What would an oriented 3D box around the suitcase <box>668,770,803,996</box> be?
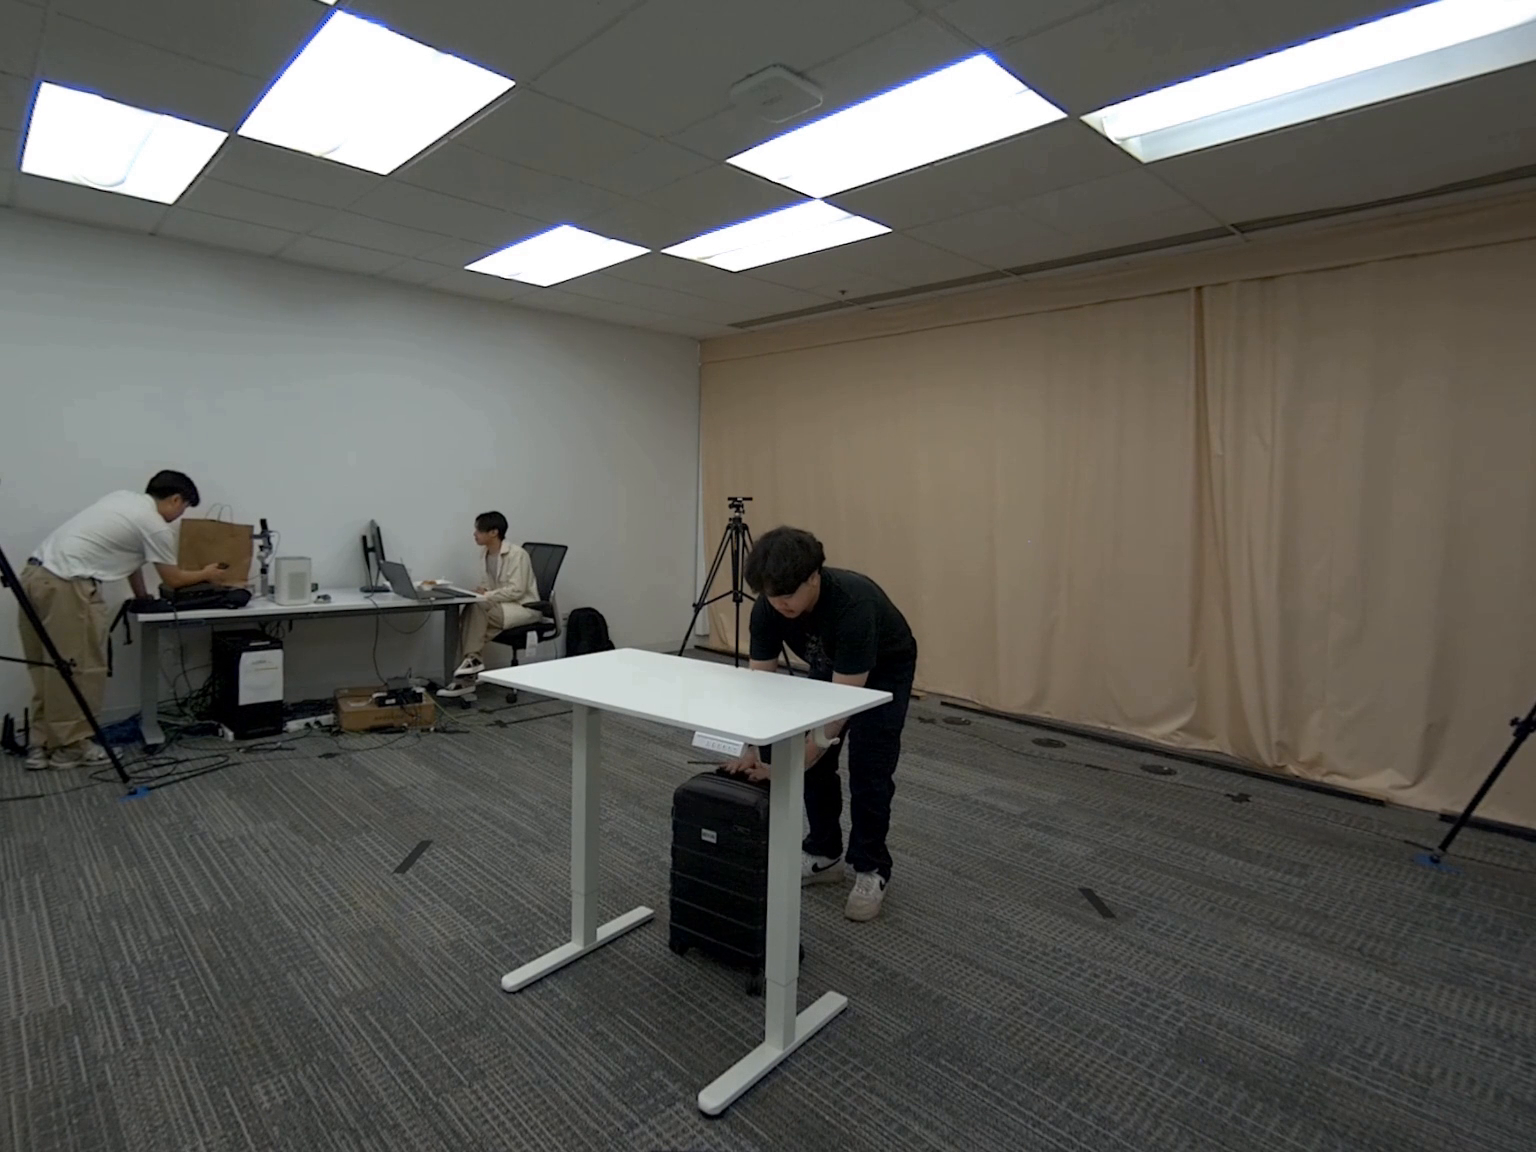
[{"bbox_3d":[-0.112,0.891,2.548,0.384,0.548,0.243,3,5,33],"label":"suitcase"}]
